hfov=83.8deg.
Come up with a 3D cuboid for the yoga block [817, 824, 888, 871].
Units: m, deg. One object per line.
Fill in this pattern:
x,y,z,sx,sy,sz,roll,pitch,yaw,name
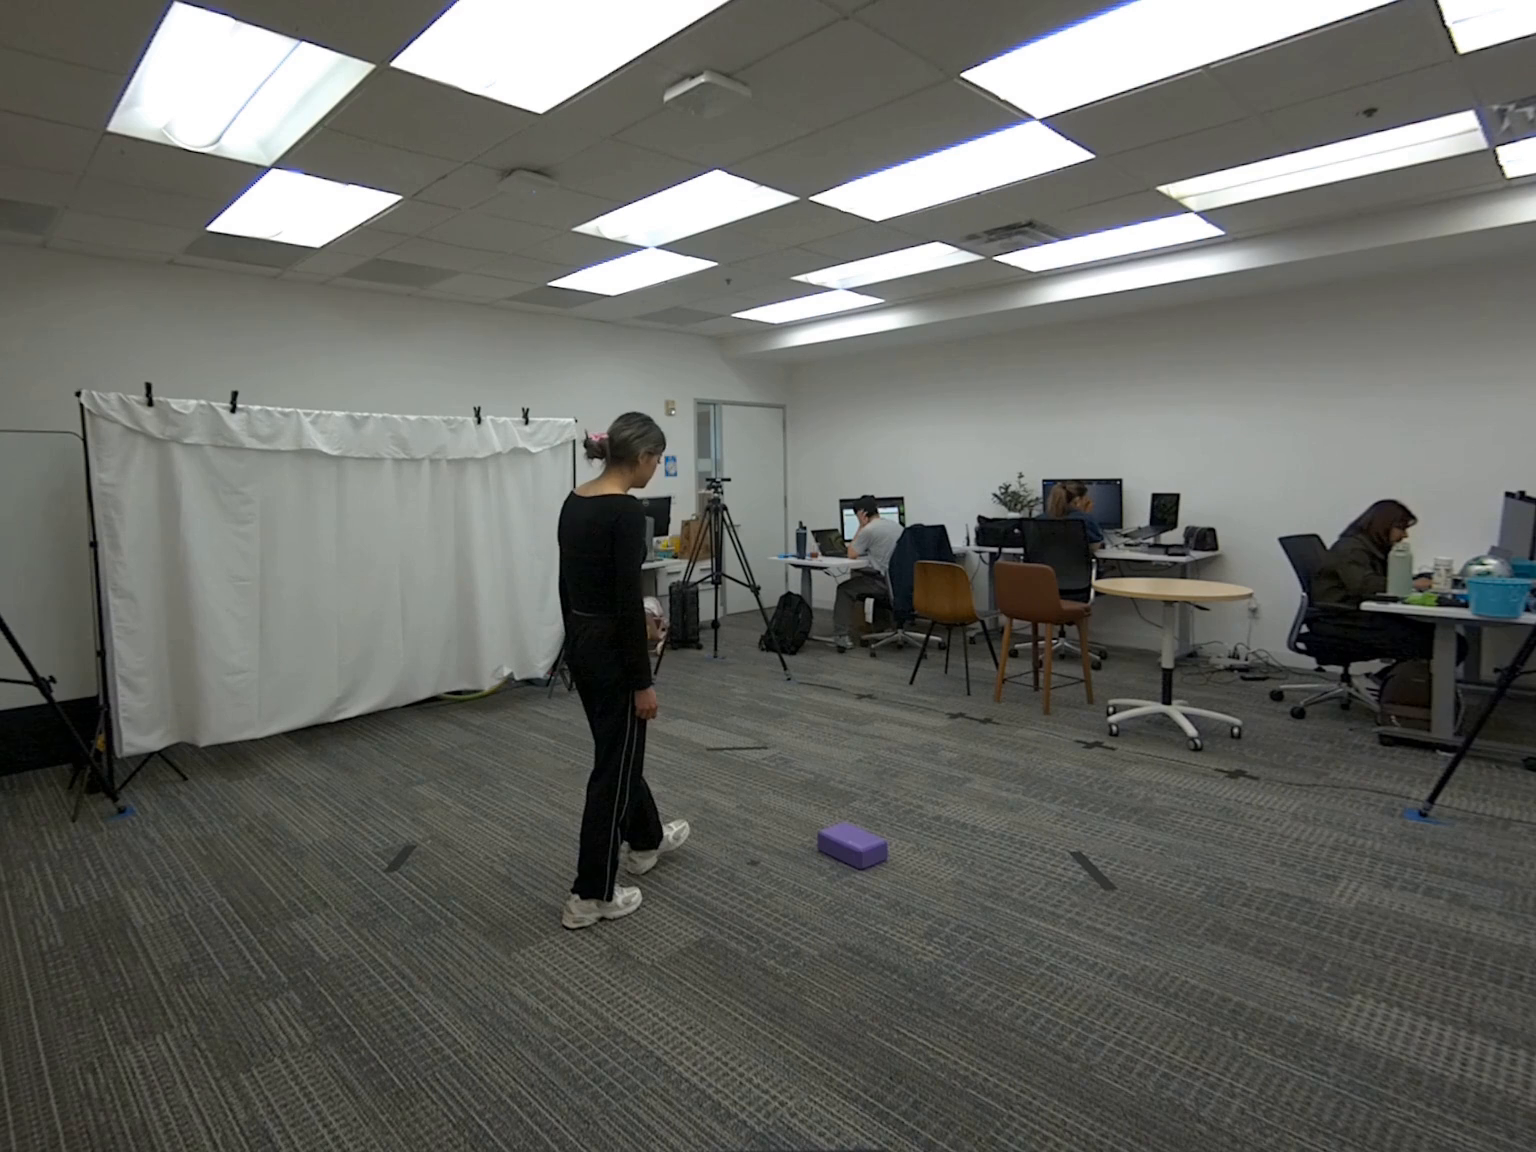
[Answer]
0.314,0.993,3.152,0.145,0.076,0.236,-5,7,-38,yoga block
